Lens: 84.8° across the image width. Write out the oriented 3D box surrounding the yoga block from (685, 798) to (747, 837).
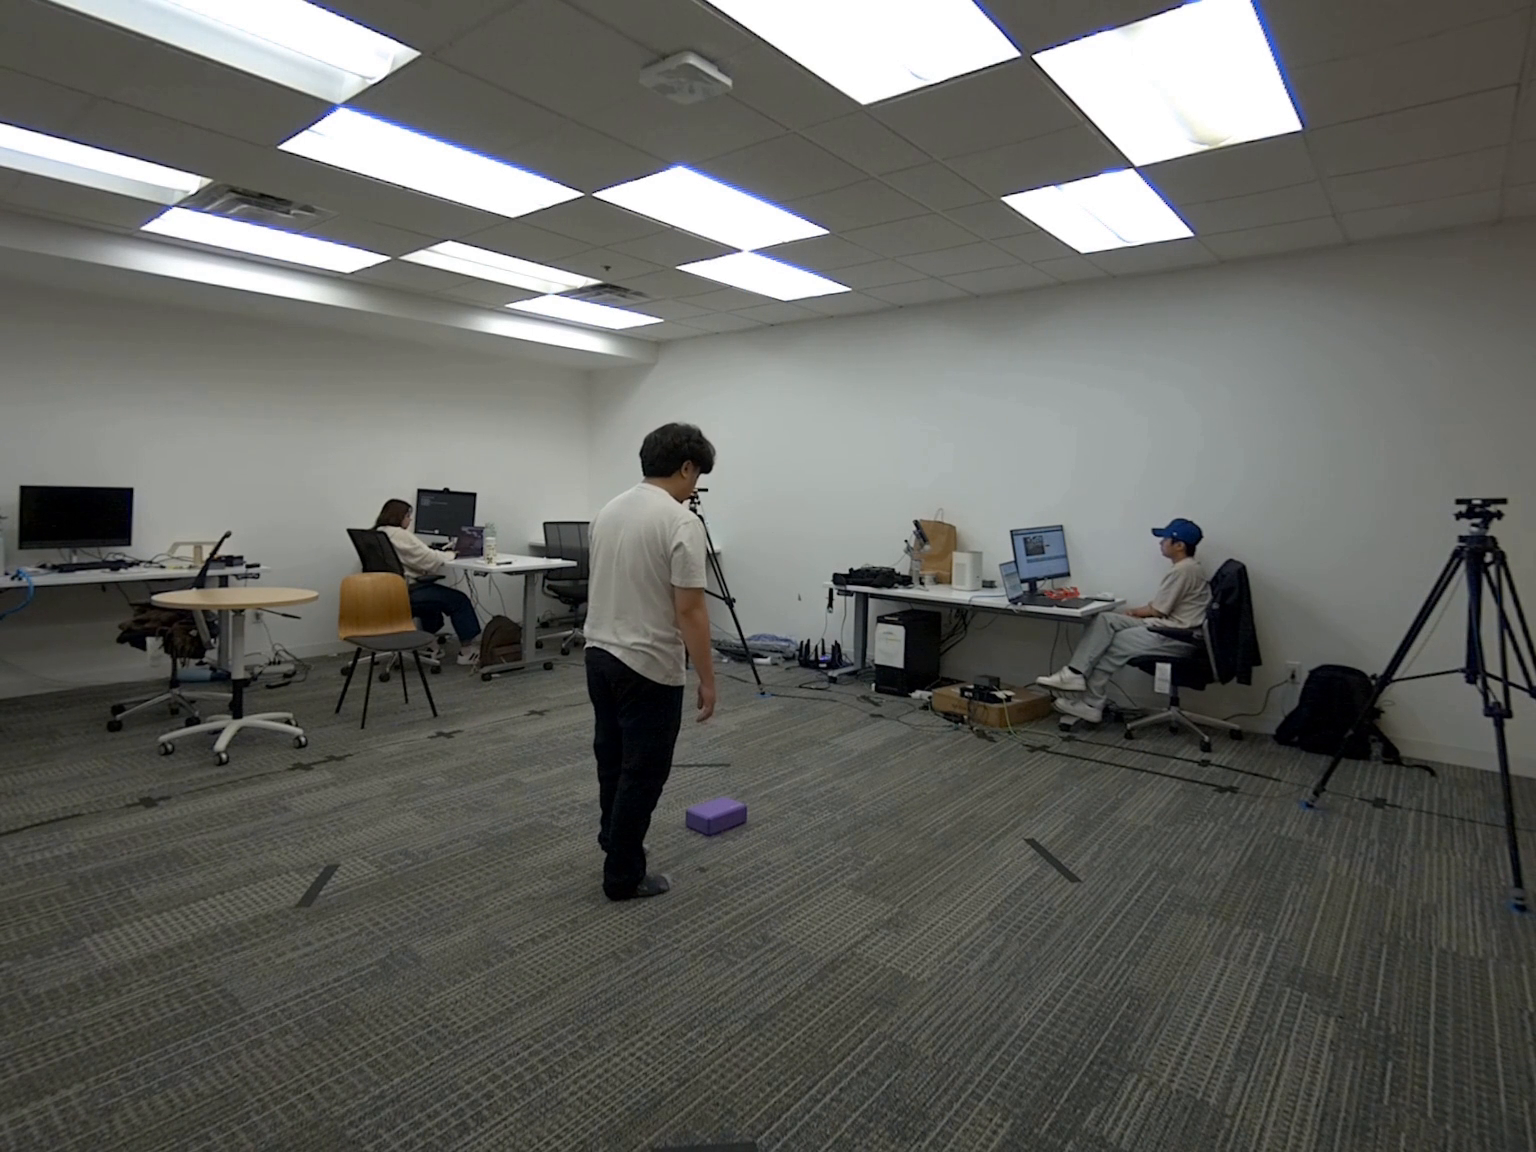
[{"bbox_3d":[-0.223,0.991,3.531,0.154,0.076,0.222,5,7,43],"label":"yoga block"}]
